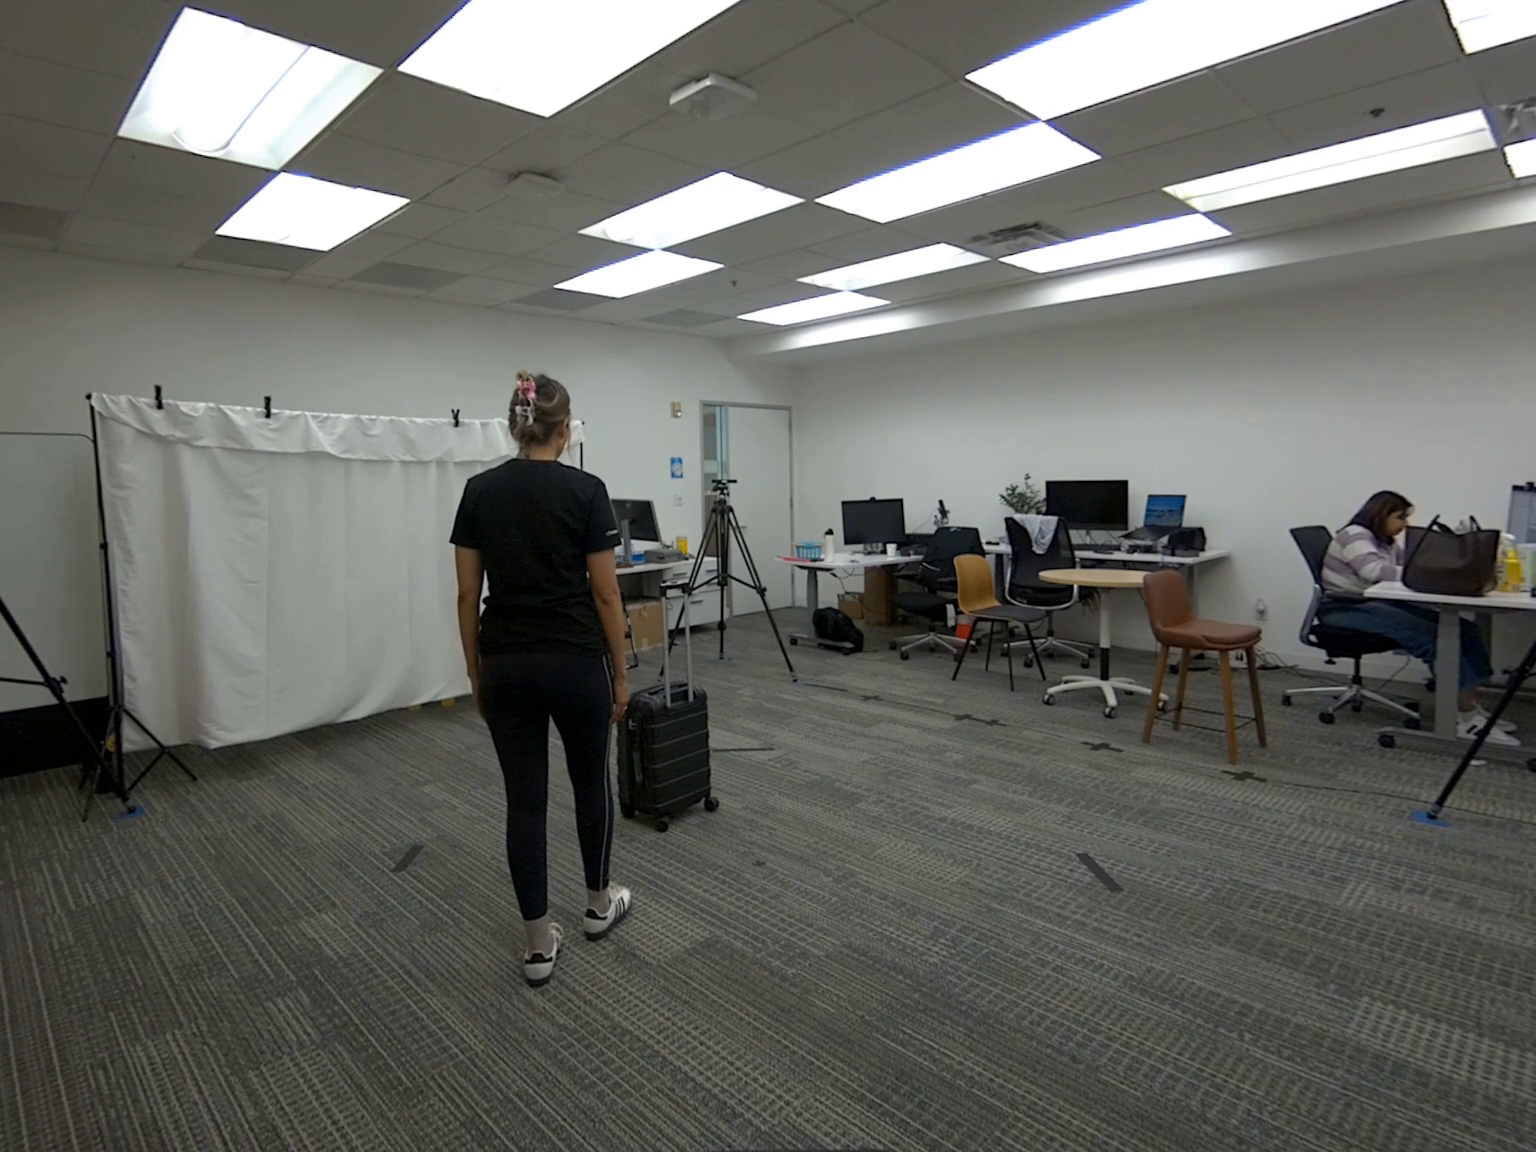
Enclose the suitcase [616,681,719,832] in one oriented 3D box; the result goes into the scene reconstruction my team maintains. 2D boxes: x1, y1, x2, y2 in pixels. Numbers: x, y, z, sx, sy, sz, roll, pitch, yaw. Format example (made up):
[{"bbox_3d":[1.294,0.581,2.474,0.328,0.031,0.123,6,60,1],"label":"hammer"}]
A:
[{"bbox_3d":[-0.452,0.527,3.583,0.264,0.977,0.374,-3,3,42],"label":"suitcase"}]
